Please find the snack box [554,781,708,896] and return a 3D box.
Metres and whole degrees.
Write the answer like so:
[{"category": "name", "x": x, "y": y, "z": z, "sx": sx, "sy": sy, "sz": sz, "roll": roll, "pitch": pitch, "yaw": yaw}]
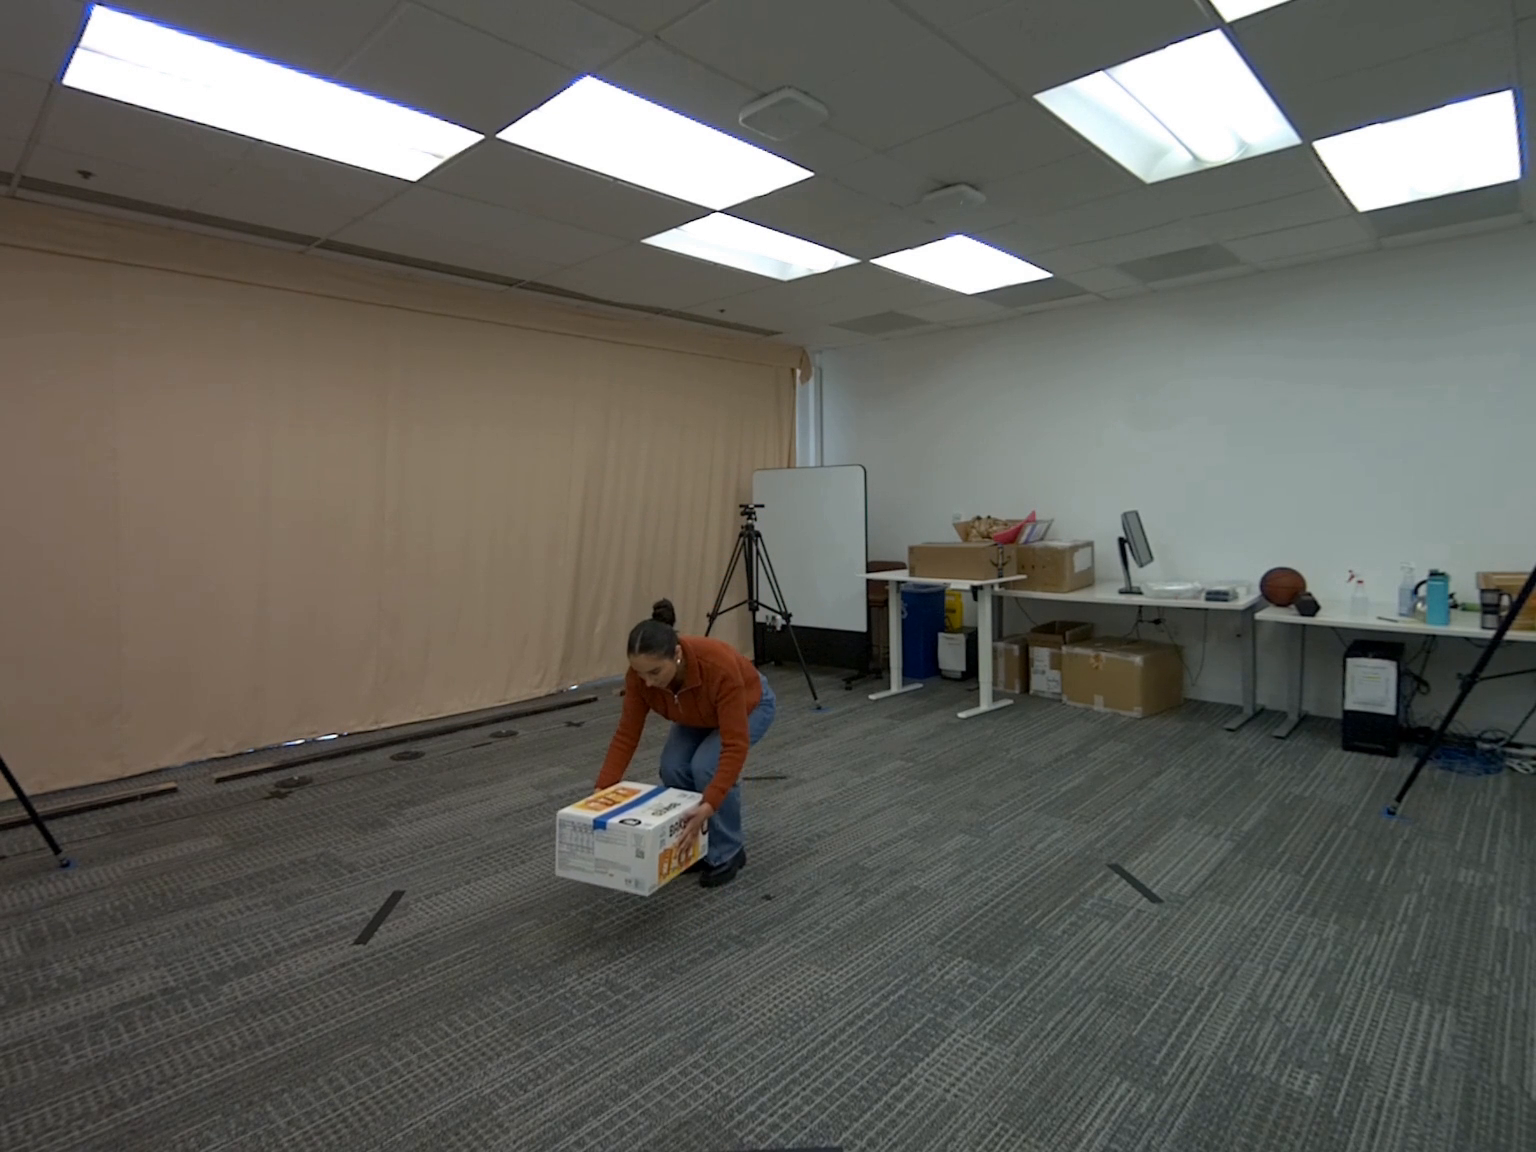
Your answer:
[{"category": "snack box", "x": -0.436, "y": 0.839, "z": 2.740, "sx": 0.349, "sy": 0.205, "sz": 0.395, "roll": 1, "pitch": 1, "yaw": 24}]
